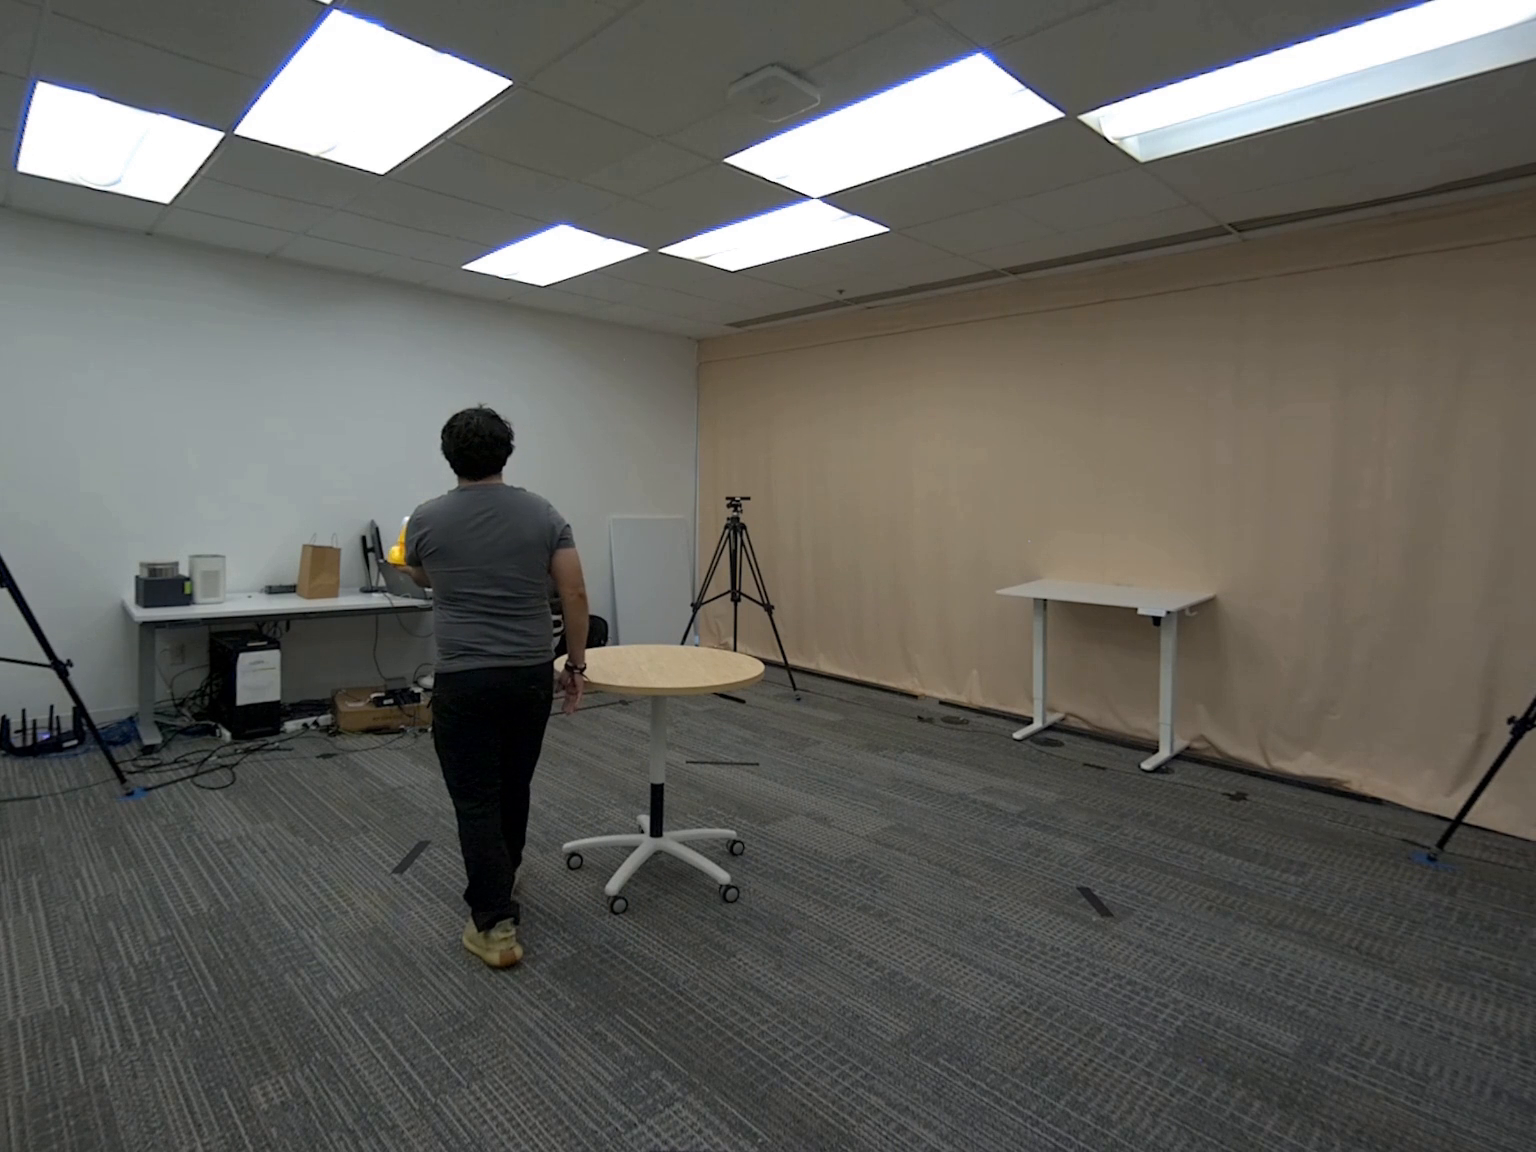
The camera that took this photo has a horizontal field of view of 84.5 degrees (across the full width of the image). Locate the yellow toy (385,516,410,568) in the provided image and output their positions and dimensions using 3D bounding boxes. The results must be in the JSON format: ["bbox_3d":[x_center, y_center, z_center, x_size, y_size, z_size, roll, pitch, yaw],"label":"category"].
[{"bbox_3d":[-1.257,-0.160,3.024,0.200,0.230,0.198,5,3,-37],"label":"yellow toy"}]
